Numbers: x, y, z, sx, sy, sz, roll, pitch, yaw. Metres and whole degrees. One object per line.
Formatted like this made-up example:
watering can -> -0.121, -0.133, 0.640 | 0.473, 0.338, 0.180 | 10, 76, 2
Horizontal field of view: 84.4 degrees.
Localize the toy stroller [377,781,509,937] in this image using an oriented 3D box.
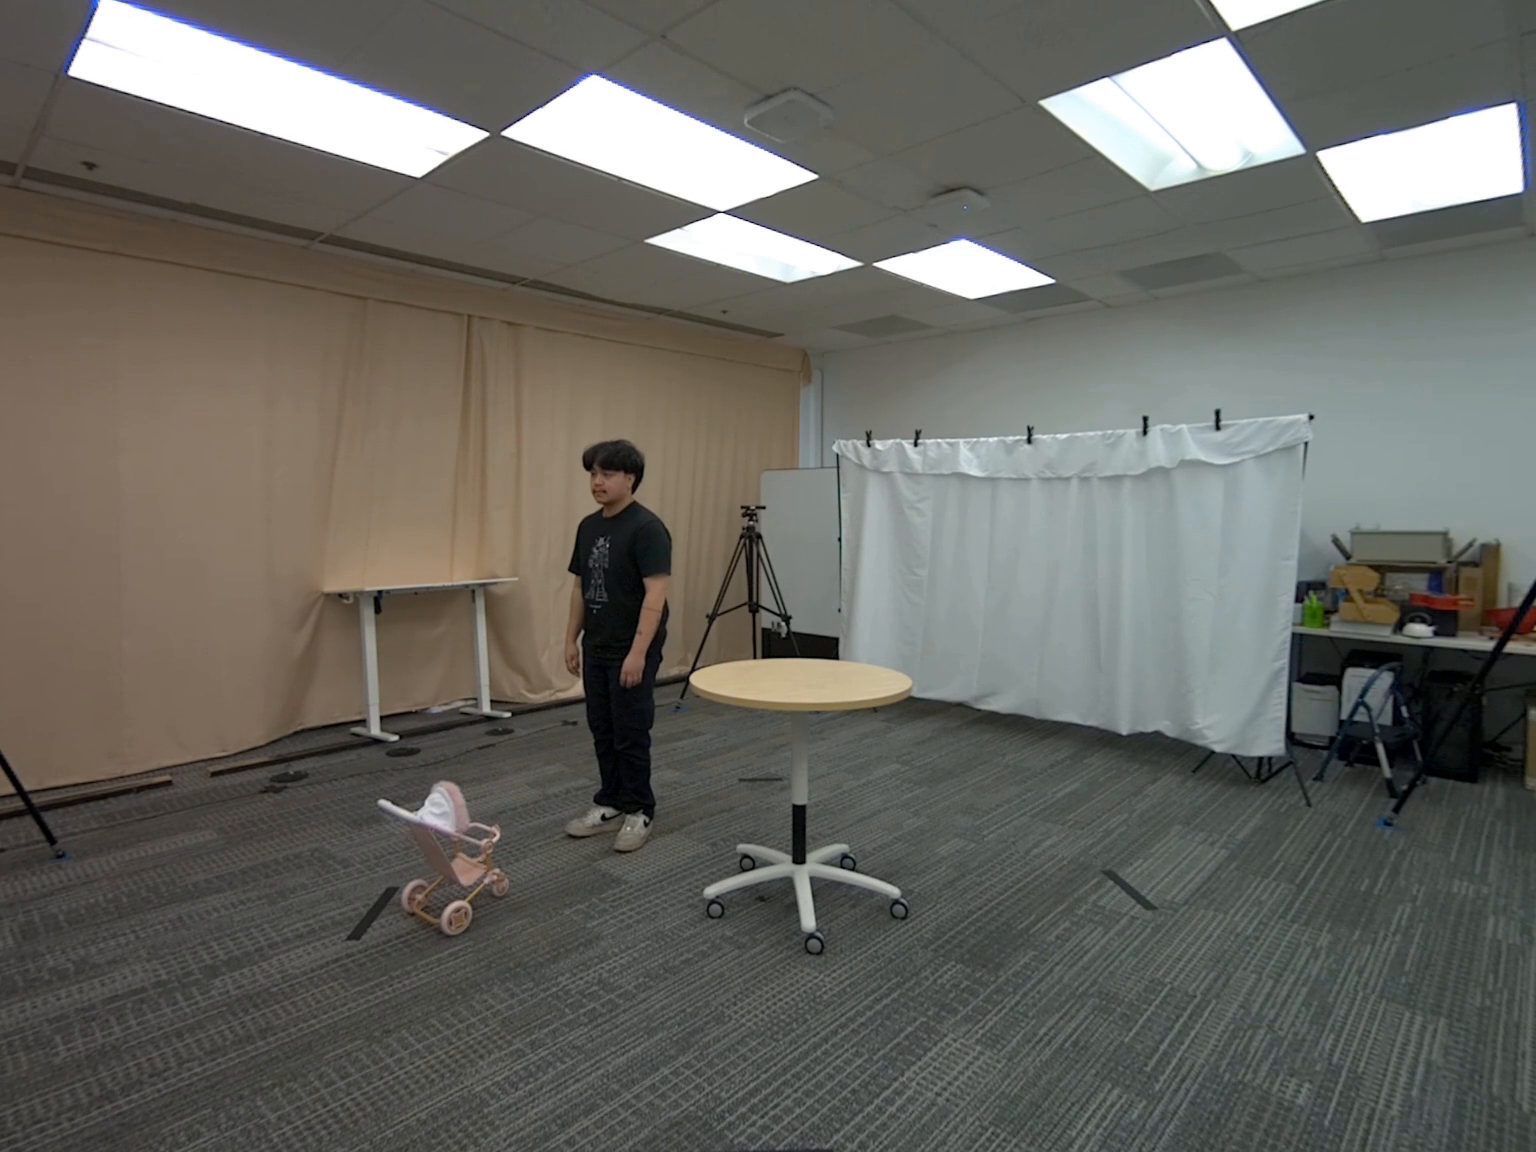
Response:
toy stroller -> -1.082, 0.940, 2.868 | 0.290, 0.529, 0.334 | 1, 18, 42
